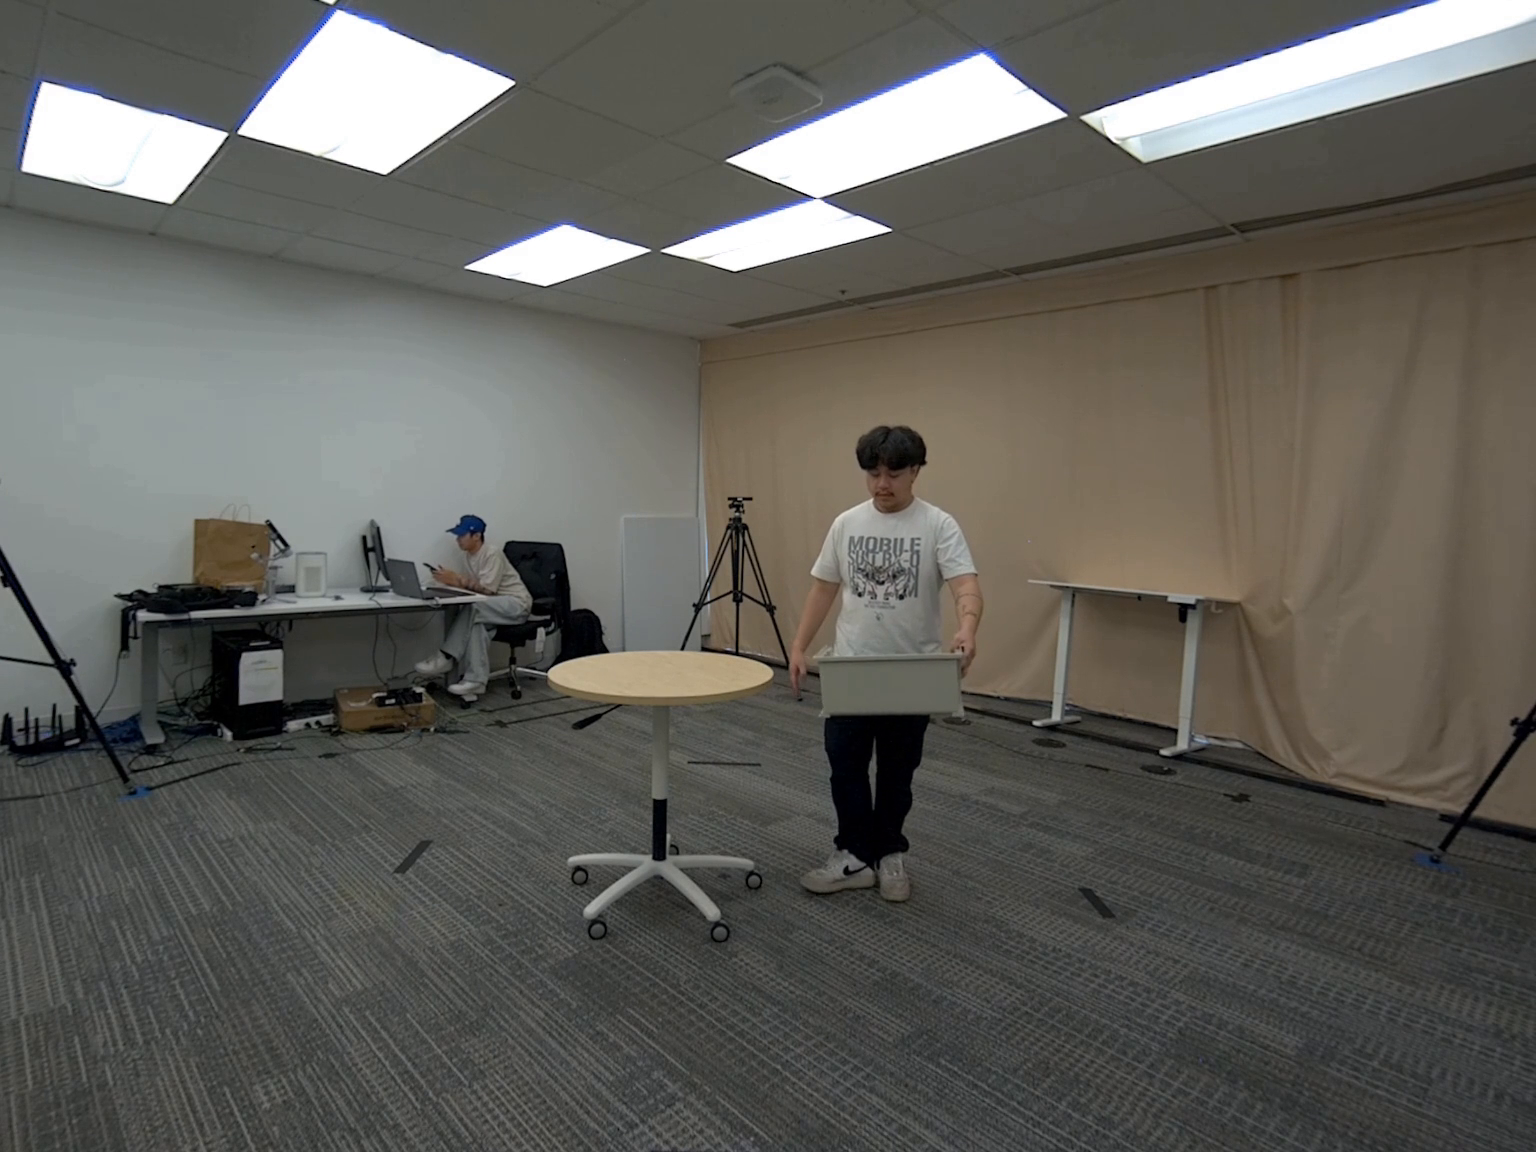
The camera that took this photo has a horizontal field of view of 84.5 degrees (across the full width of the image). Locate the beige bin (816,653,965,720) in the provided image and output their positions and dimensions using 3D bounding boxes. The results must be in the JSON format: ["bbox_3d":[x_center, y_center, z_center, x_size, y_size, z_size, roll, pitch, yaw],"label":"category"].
[{"bbox_3d":[0.364,0.314,2.592,0.426,0.188,0.375,-1,4,11],"label":"beige bin"}]
